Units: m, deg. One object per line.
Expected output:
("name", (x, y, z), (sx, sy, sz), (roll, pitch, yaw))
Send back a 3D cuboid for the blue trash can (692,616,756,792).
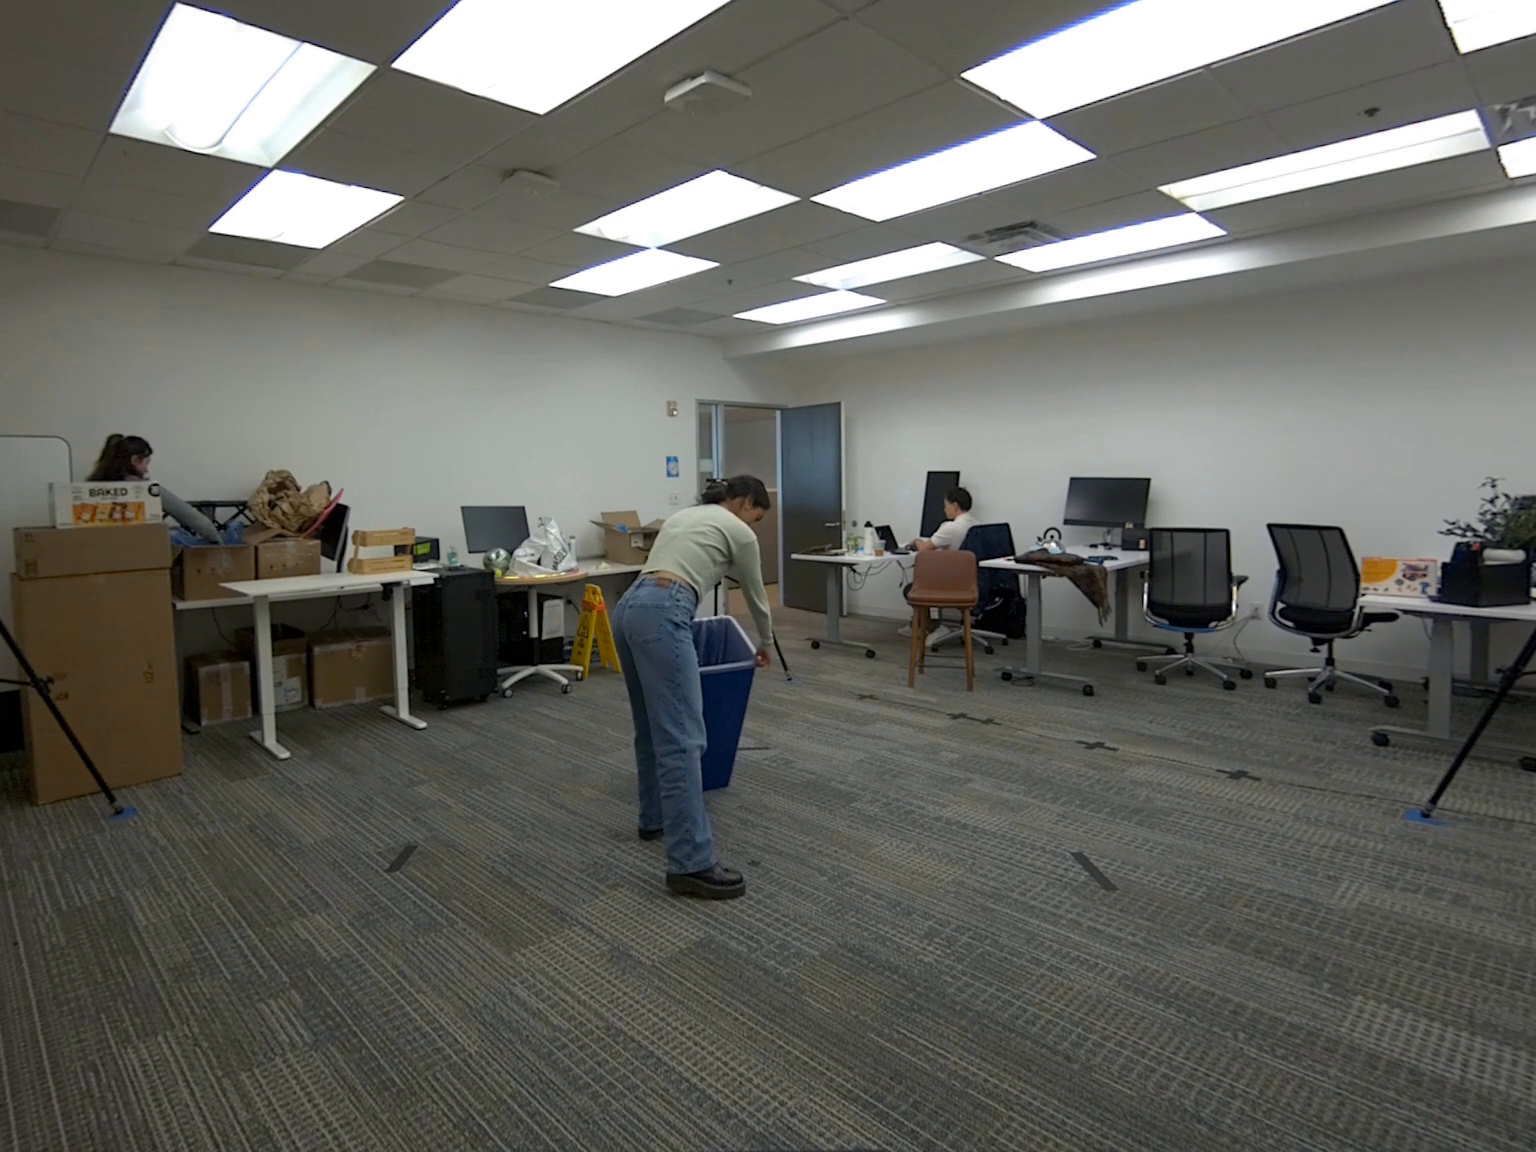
("blue trash can", (-0.303, 0.588, 3.791), (0.370, 0.701, 0.388), (-4, 30, -24))
